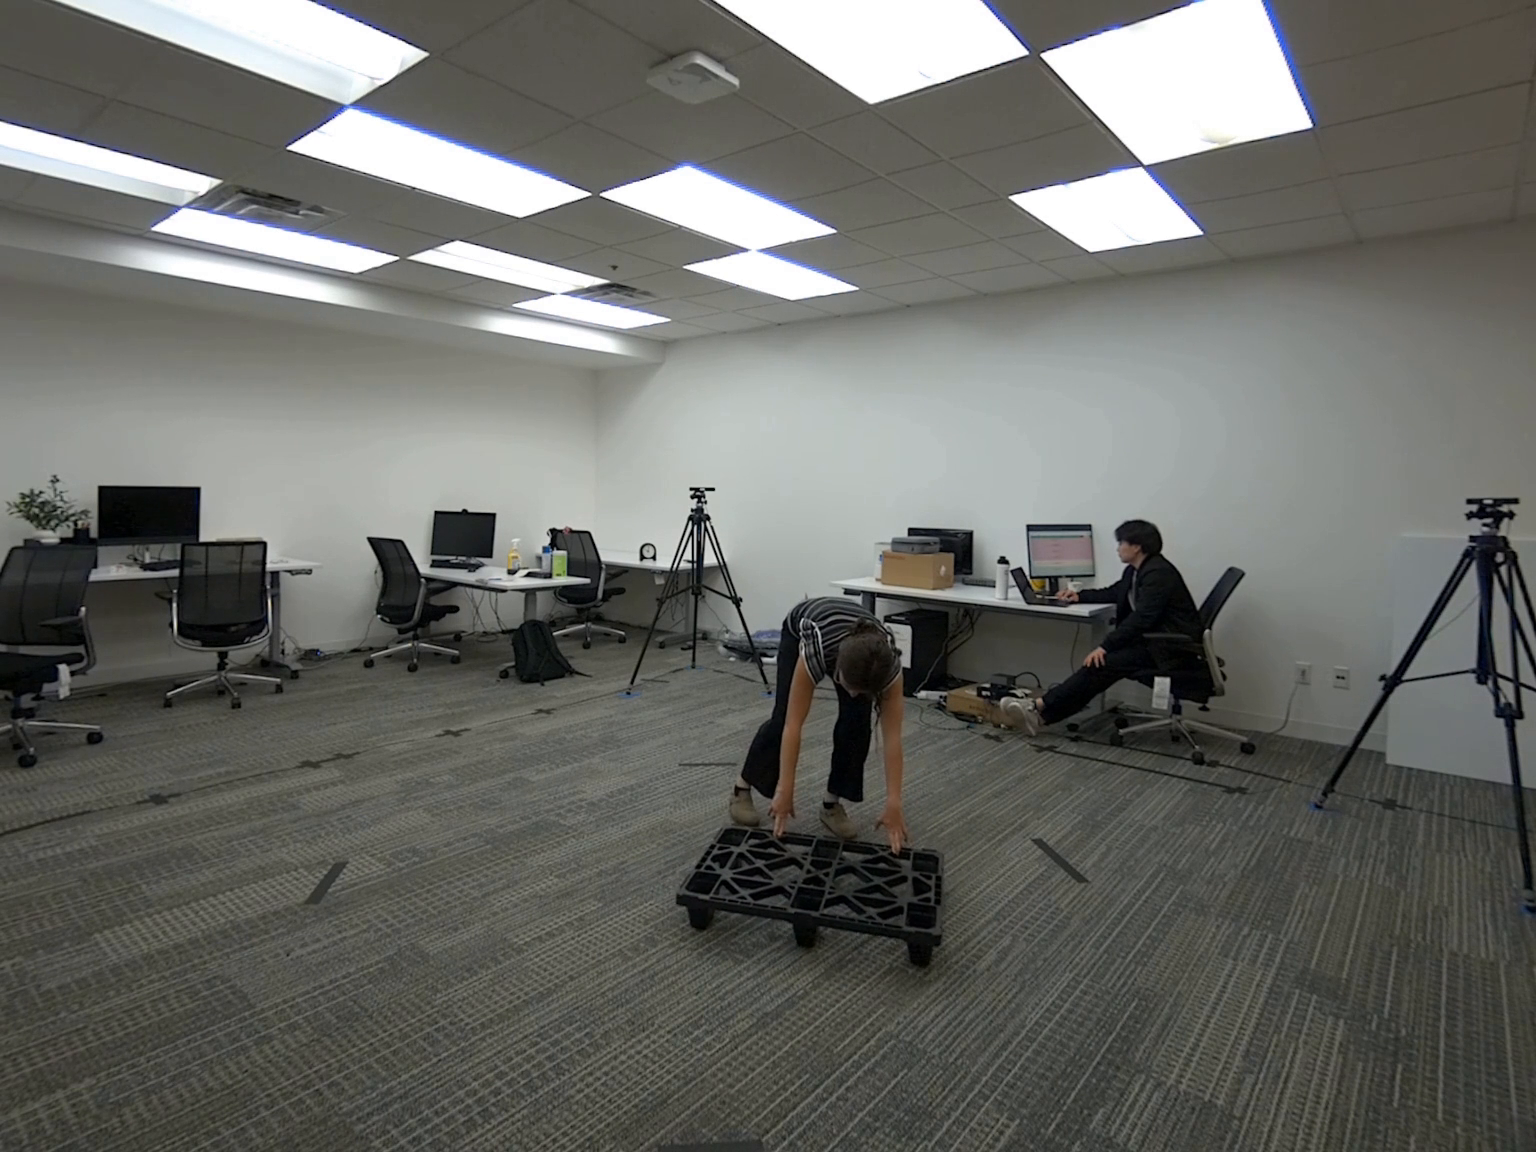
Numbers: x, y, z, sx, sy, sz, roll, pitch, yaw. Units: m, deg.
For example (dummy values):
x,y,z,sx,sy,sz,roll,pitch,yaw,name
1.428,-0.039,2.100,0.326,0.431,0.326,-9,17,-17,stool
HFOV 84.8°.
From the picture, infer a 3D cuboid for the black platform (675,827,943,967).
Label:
x,y,z,sx,sy,sz,roll,pitch,yaw,name
0.158,1.034,2.809,0.818,0.143,0.598,2,6,14,black platform
